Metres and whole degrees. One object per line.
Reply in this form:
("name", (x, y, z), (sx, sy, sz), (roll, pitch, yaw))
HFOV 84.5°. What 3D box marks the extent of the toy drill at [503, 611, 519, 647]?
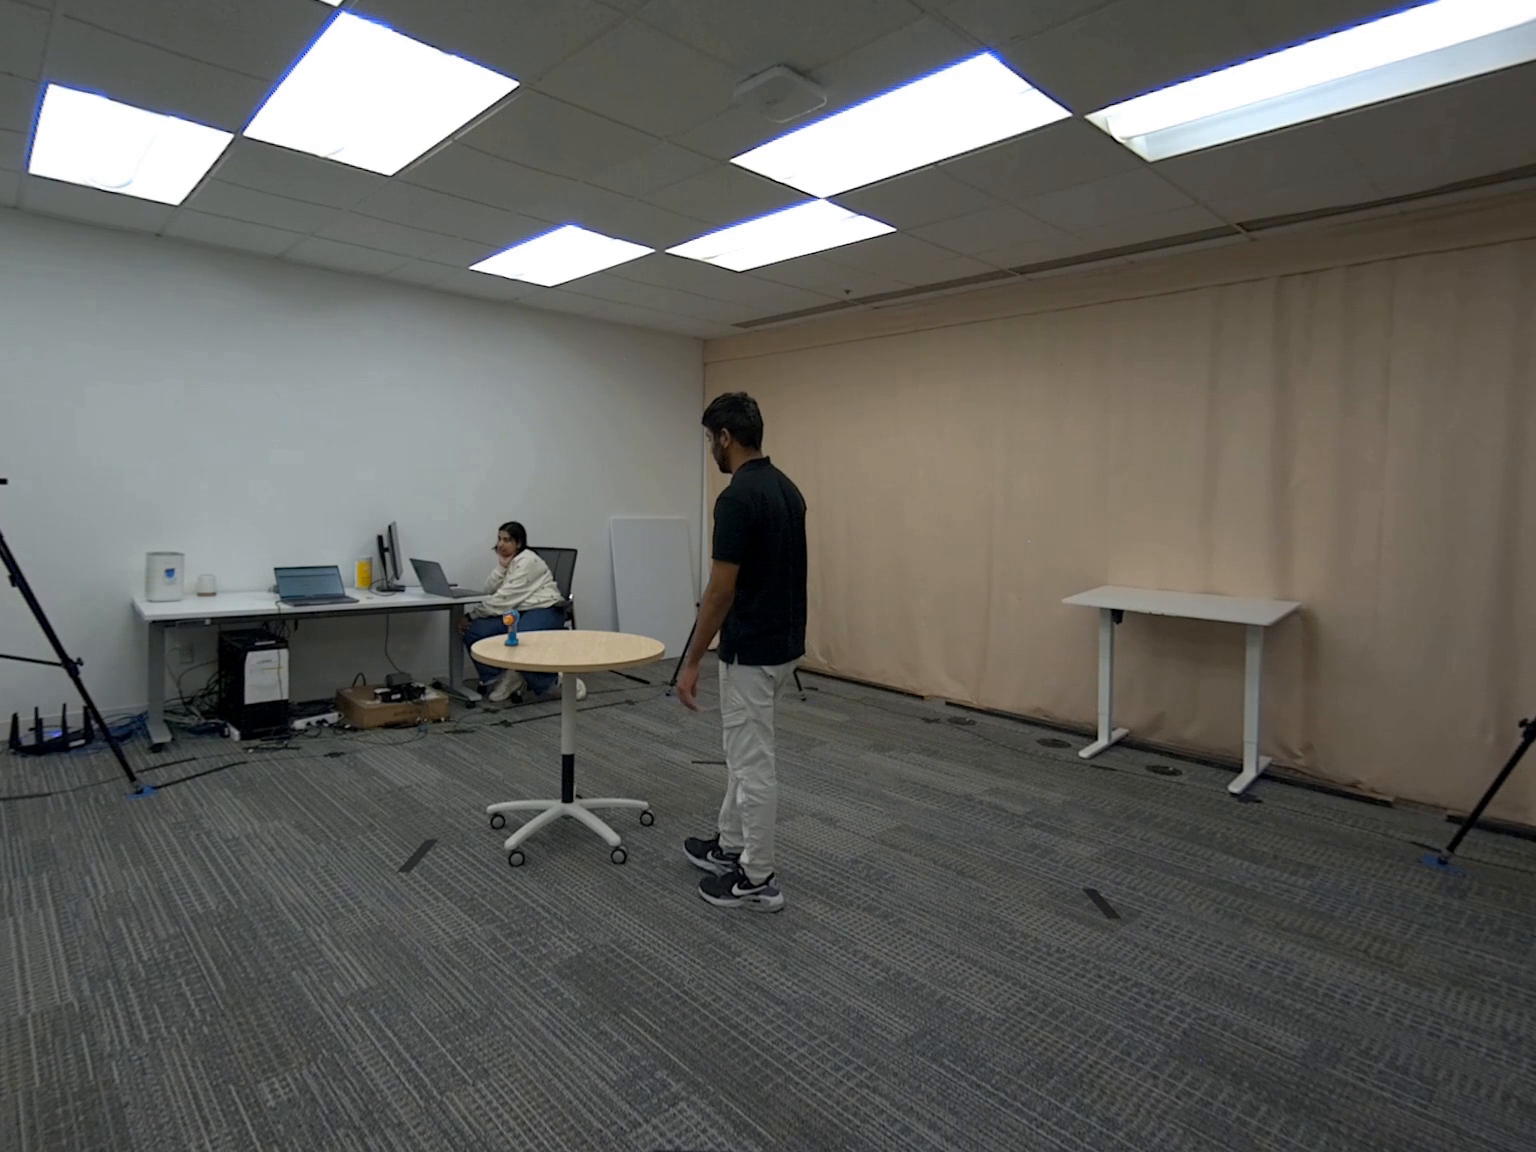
("toy drill", (-1.038, 0.210, 3.333), (0.061, 0.145, 0.171), (2, 5, -3))
